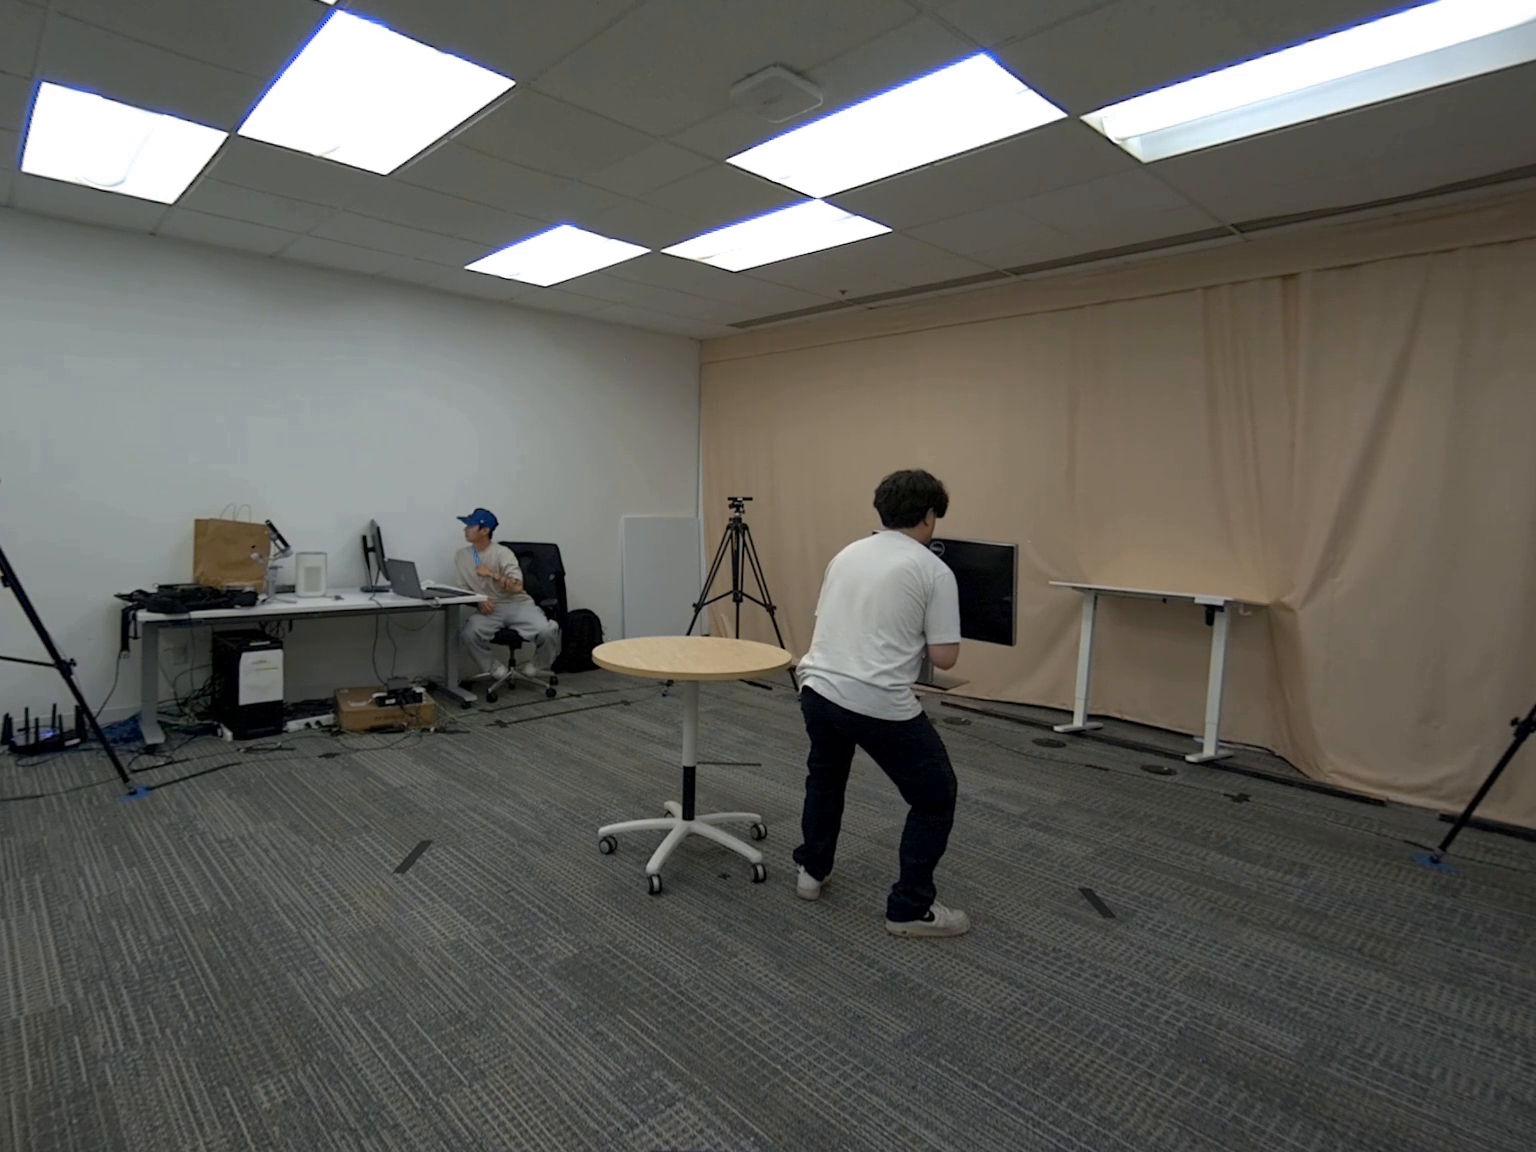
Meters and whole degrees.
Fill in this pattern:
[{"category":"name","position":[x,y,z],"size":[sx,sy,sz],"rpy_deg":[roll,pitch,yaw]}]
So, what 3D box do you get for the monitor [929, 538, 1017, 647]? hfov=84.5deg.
[{"category":"monitor","position":[0.580,0.135,3.018],"size":[0.580,0.551,0.206],"rpy_deg":[9,10,39]}]
